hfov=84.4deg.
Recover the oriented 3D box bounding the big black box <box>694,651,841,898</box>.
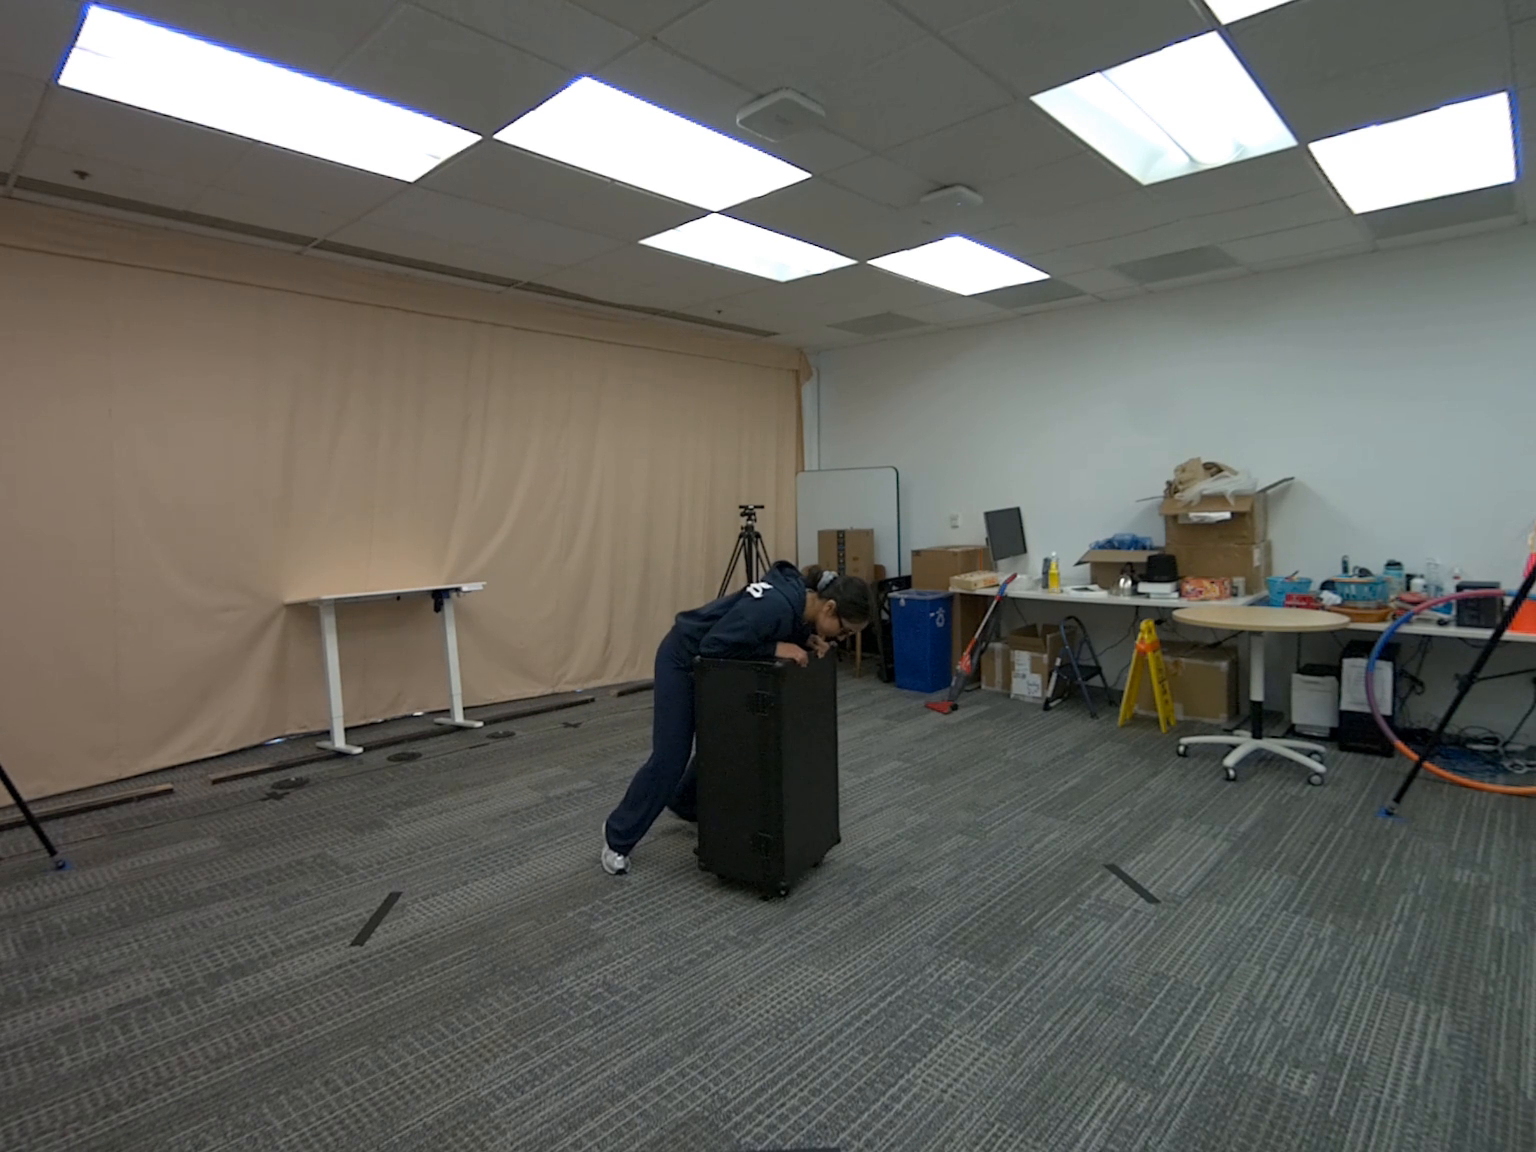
[{"bbox_3d":[0.001,0.705,3.160,0.407,0.860,0.508,0,3,29],"label":"big black box"}]
